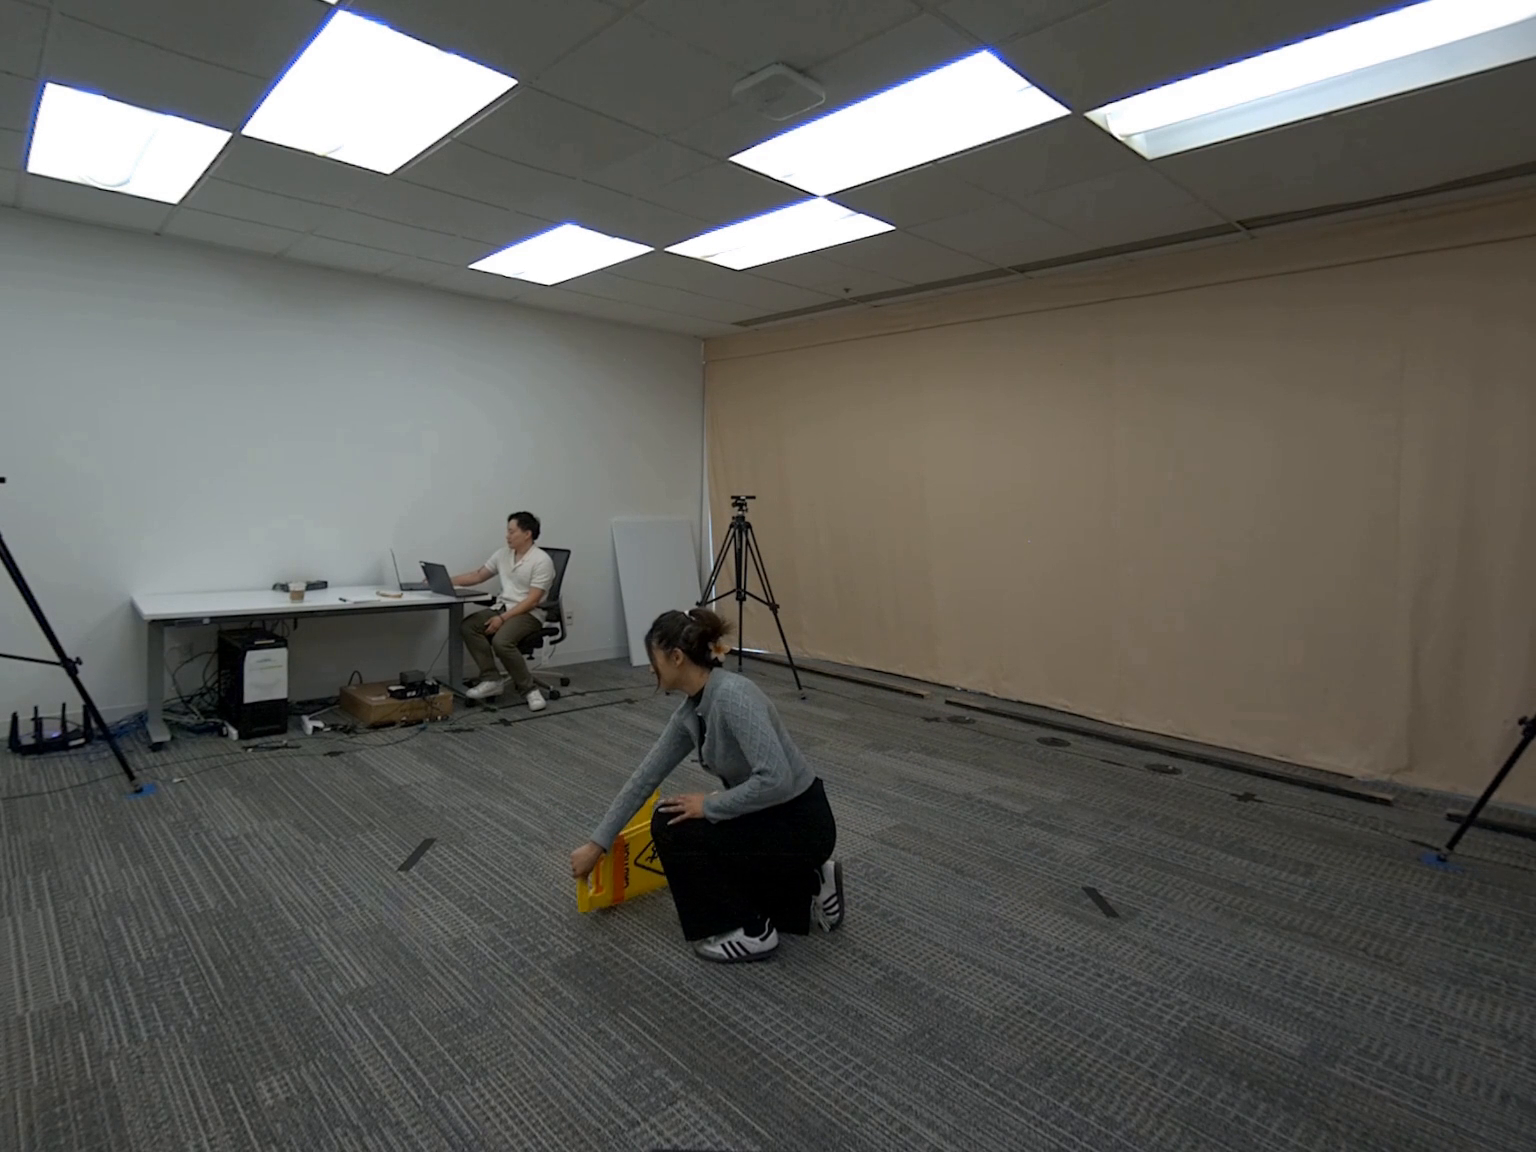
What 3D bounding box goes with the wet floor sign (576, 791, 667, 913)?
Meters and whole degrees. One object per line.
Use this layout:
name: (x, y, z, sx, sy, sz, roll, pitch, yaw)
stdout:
wet floor sign: (-0.463, 0.965, 2.984, 0.296, 0.282, 0.634, 1, 4, 30)
